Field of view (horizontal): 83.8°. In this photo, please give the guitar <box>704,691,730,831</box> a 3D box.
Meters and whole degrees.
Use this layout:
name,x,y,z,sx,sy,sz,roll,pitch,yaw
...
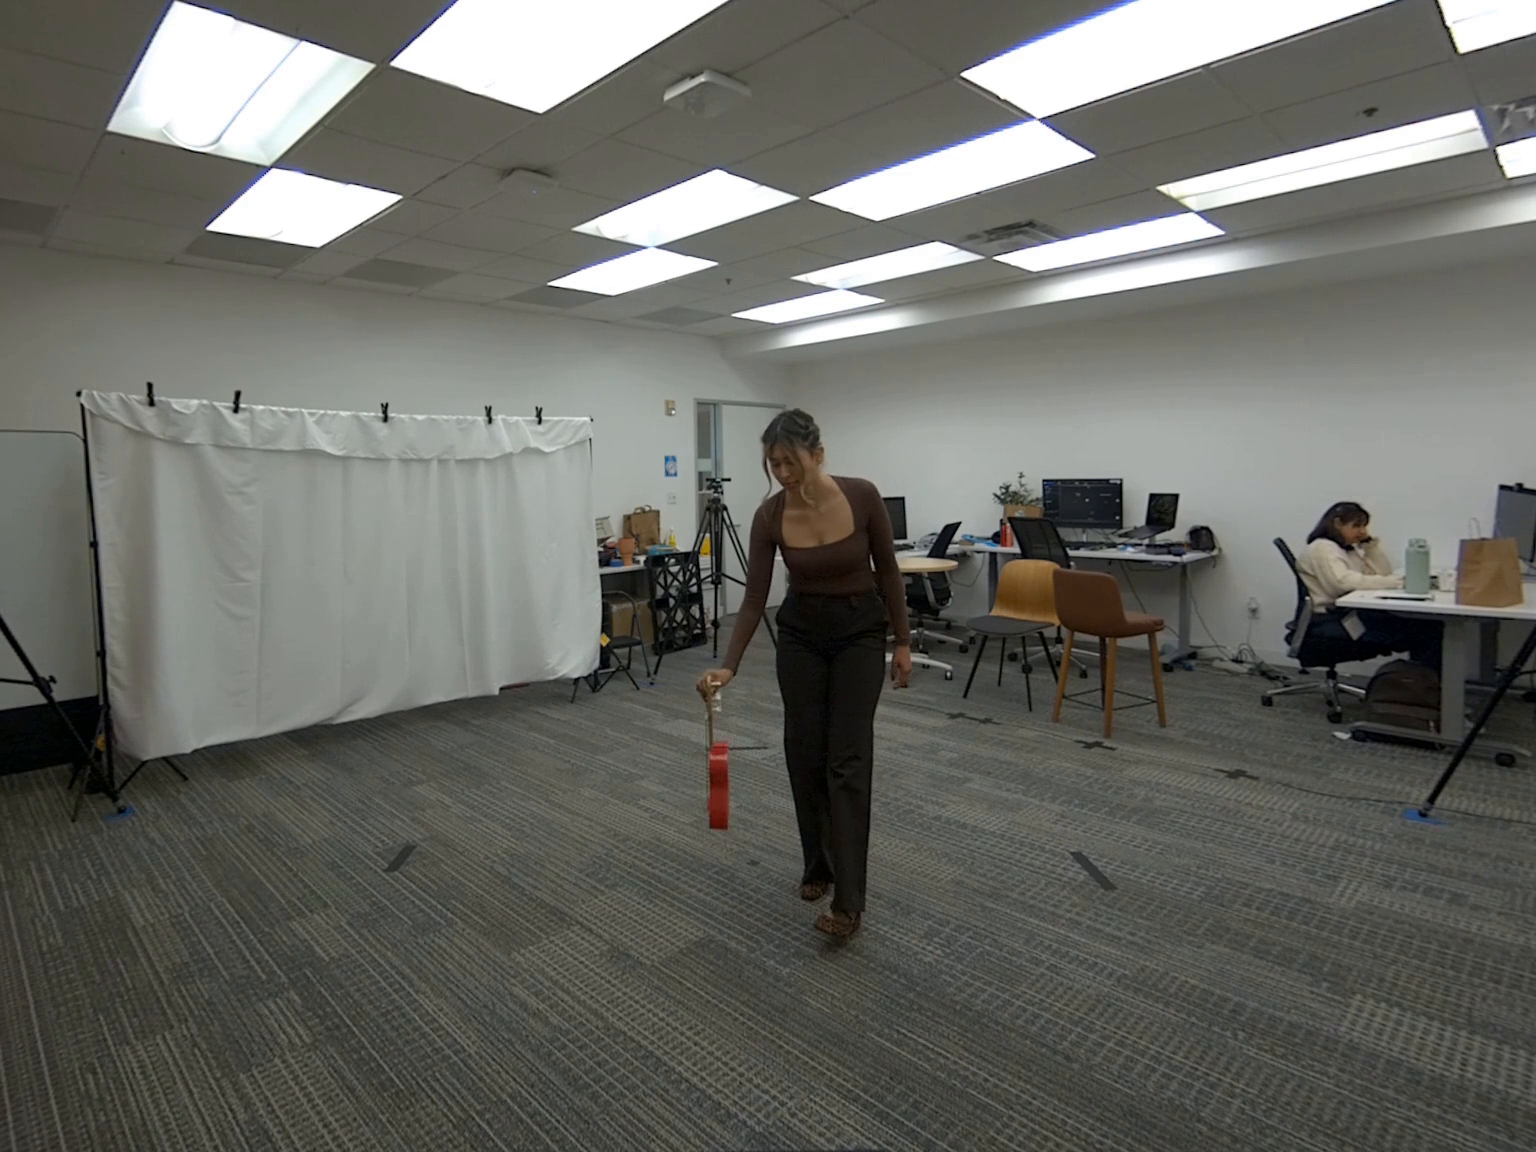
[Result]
name,x,y,z,sx,sy,sz,roll,pitch,yaw
guitar,-0.156,0.563,2.678,0.070,0.488,0.197,-1,25,-4
